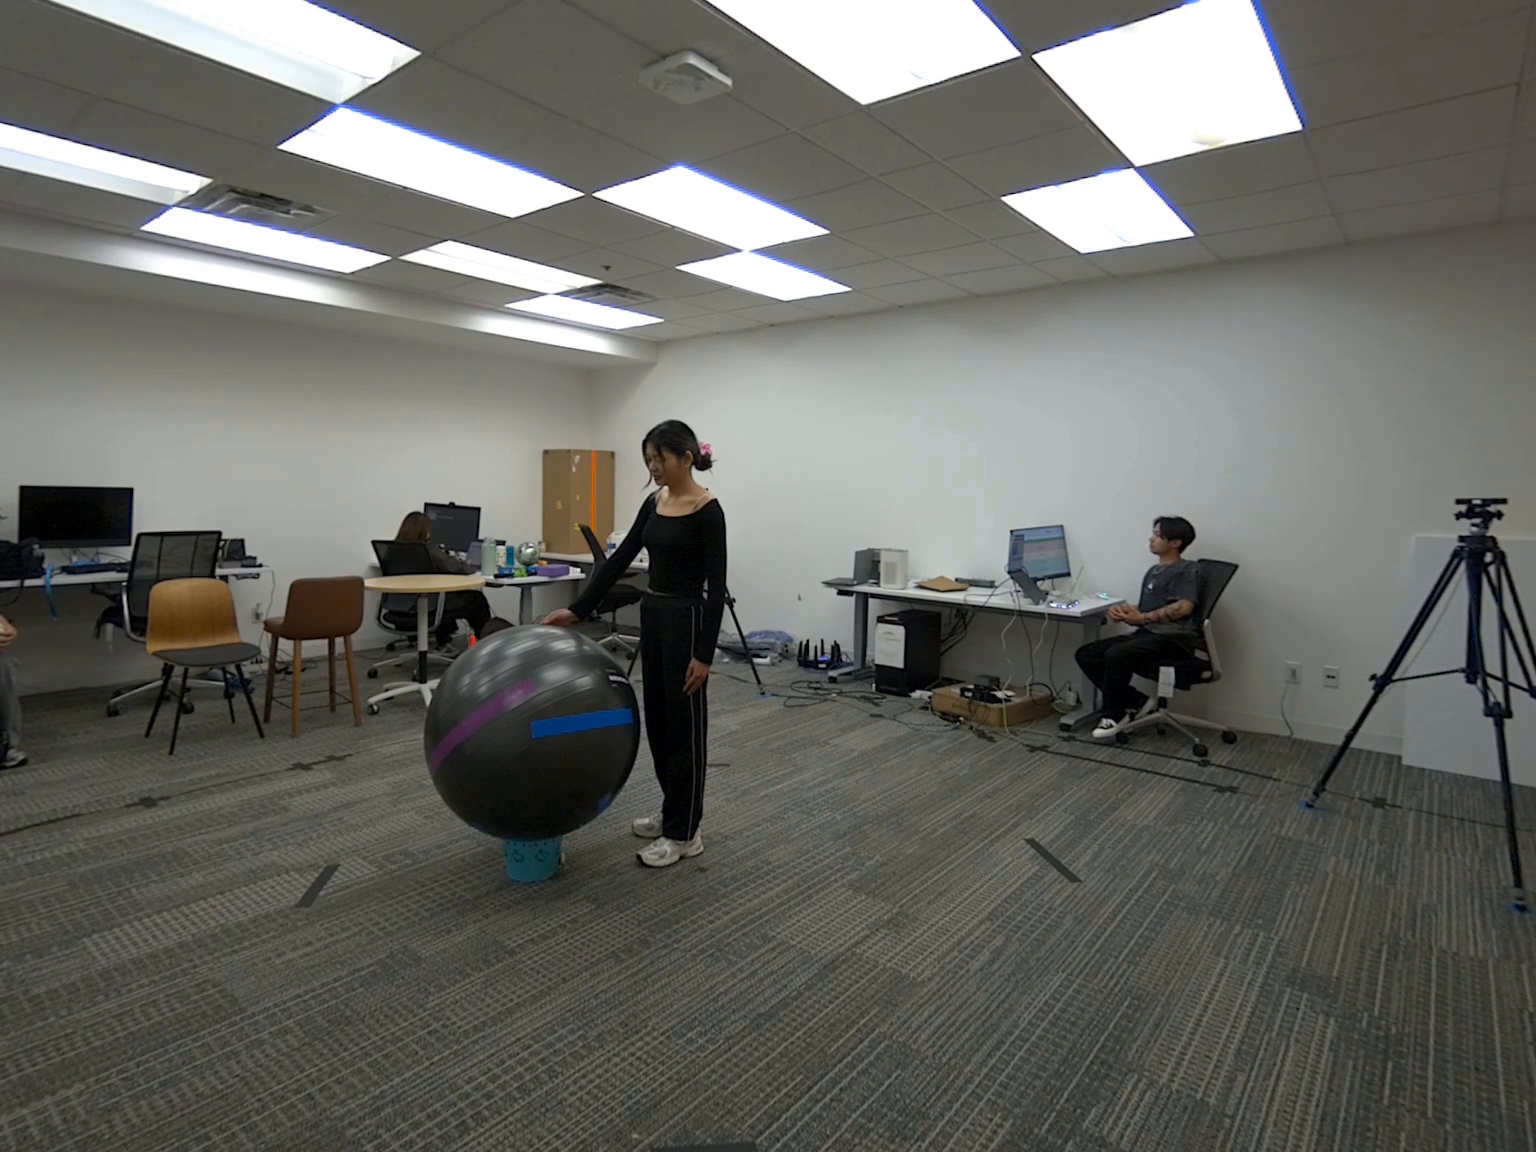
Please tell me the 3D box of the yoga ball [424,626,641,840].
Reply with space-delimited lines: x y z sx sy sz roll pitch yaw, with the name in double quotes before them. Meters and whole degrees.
"yoga ball" -0.864 0.559 3.053 0.757 0.756 0.762 1 4 -2
